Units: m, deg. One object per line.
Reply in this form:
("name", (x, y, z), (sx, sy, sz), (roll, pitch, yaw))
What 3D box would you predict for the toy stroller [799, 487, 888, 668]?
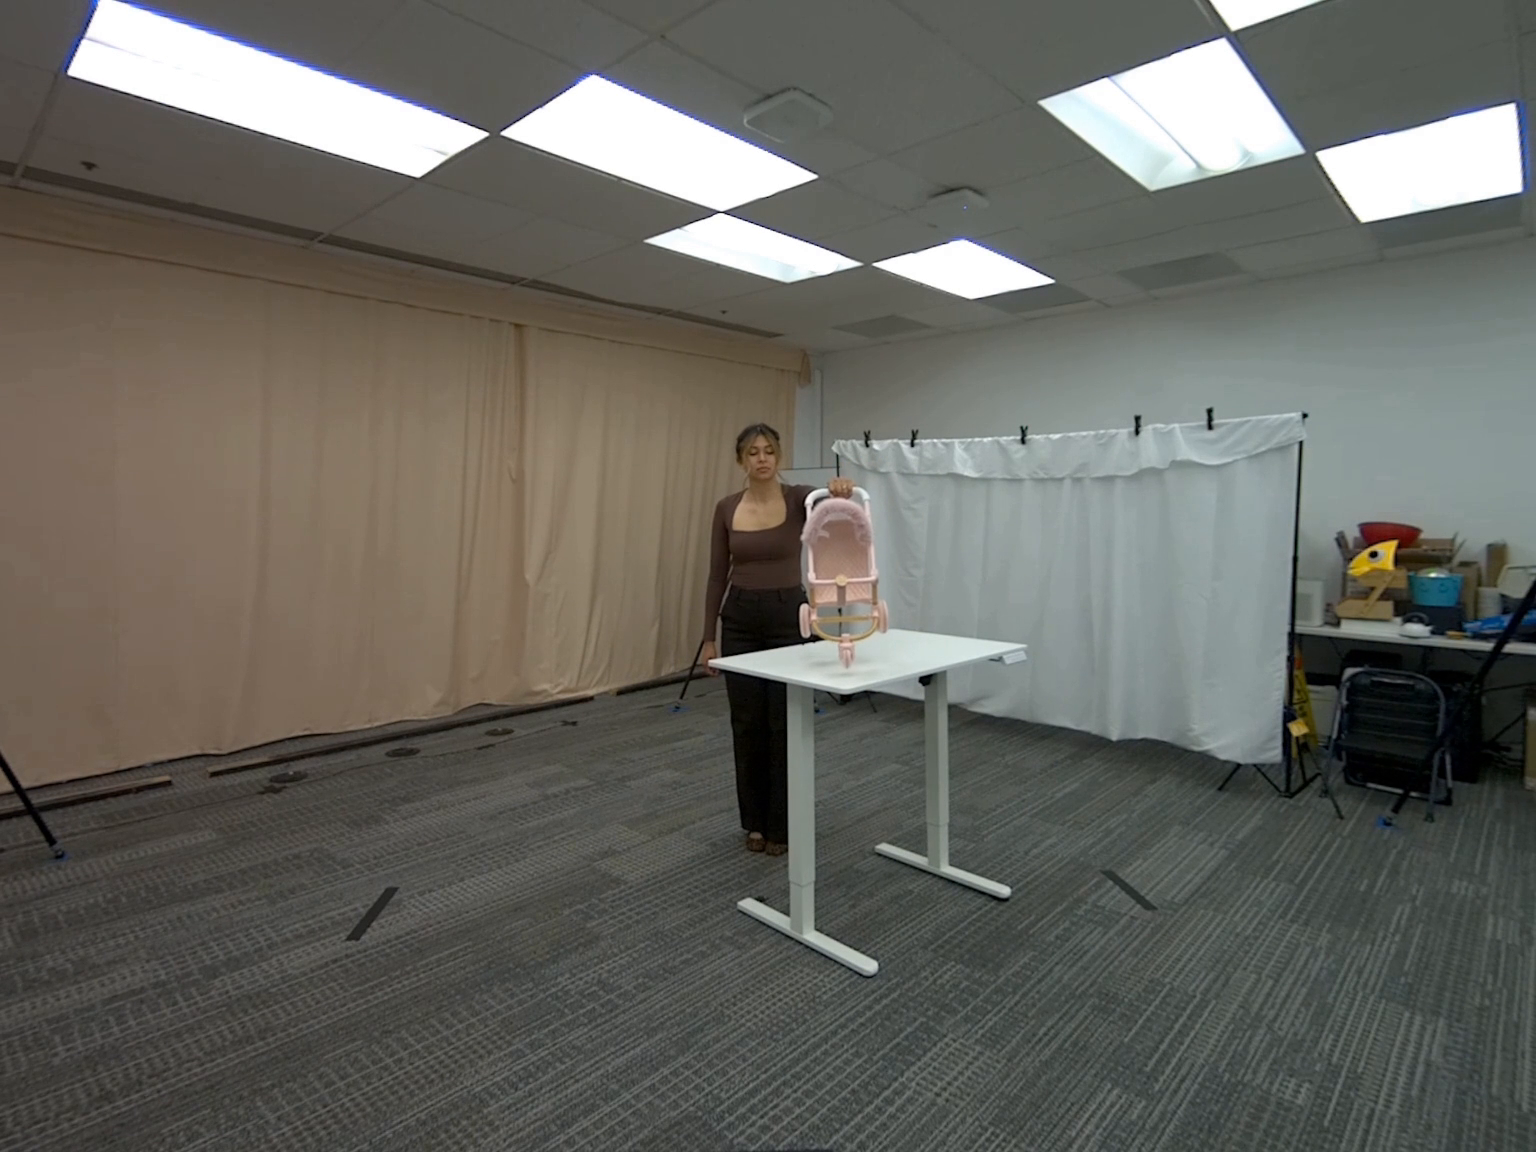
("toy stroller", (0.235, 0.001, 2.612), (0.285, 0.533, 0.338), (-1, 5, 11))
